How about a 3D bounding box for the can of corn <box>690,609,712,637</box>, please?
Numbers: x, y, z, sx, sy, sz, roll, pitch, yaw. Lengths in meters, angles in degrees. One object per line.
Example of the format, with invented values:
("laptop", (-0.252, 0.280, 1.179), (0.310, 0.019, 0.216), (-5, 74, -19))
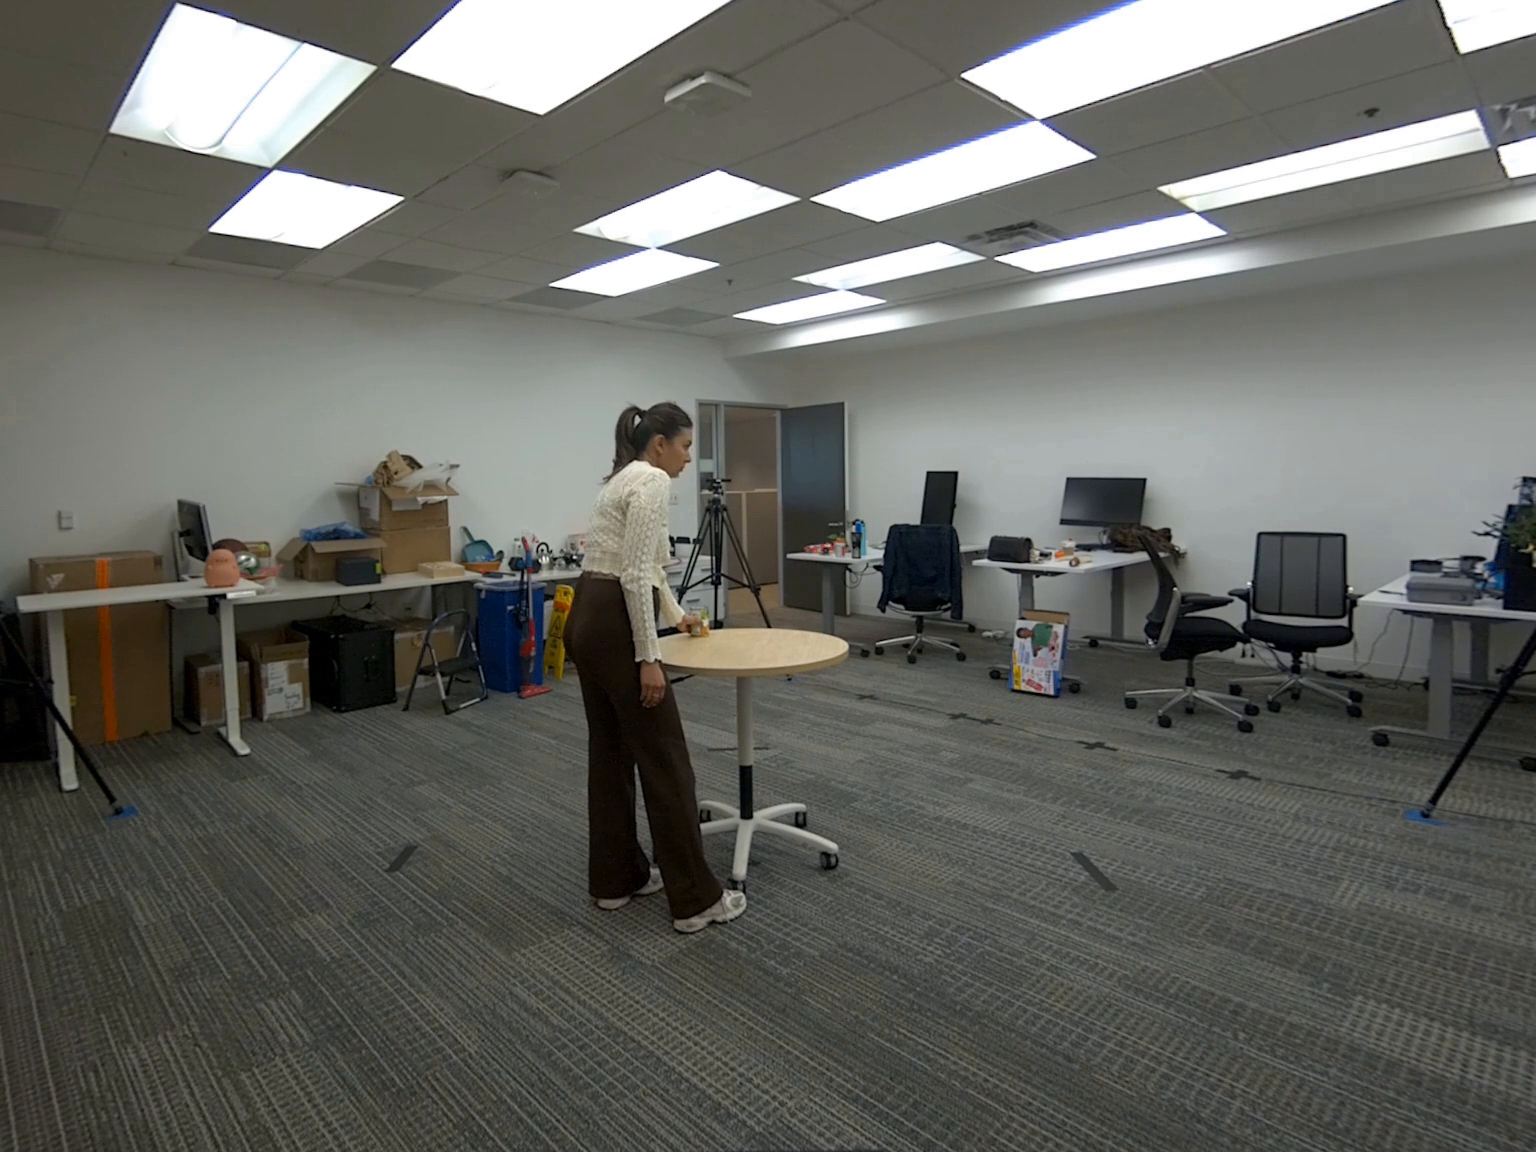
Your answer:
("can of corn", (-0.267, 0.178, 3.363), (0.074, 0.110, 0.074), (-2, 5, -1))
